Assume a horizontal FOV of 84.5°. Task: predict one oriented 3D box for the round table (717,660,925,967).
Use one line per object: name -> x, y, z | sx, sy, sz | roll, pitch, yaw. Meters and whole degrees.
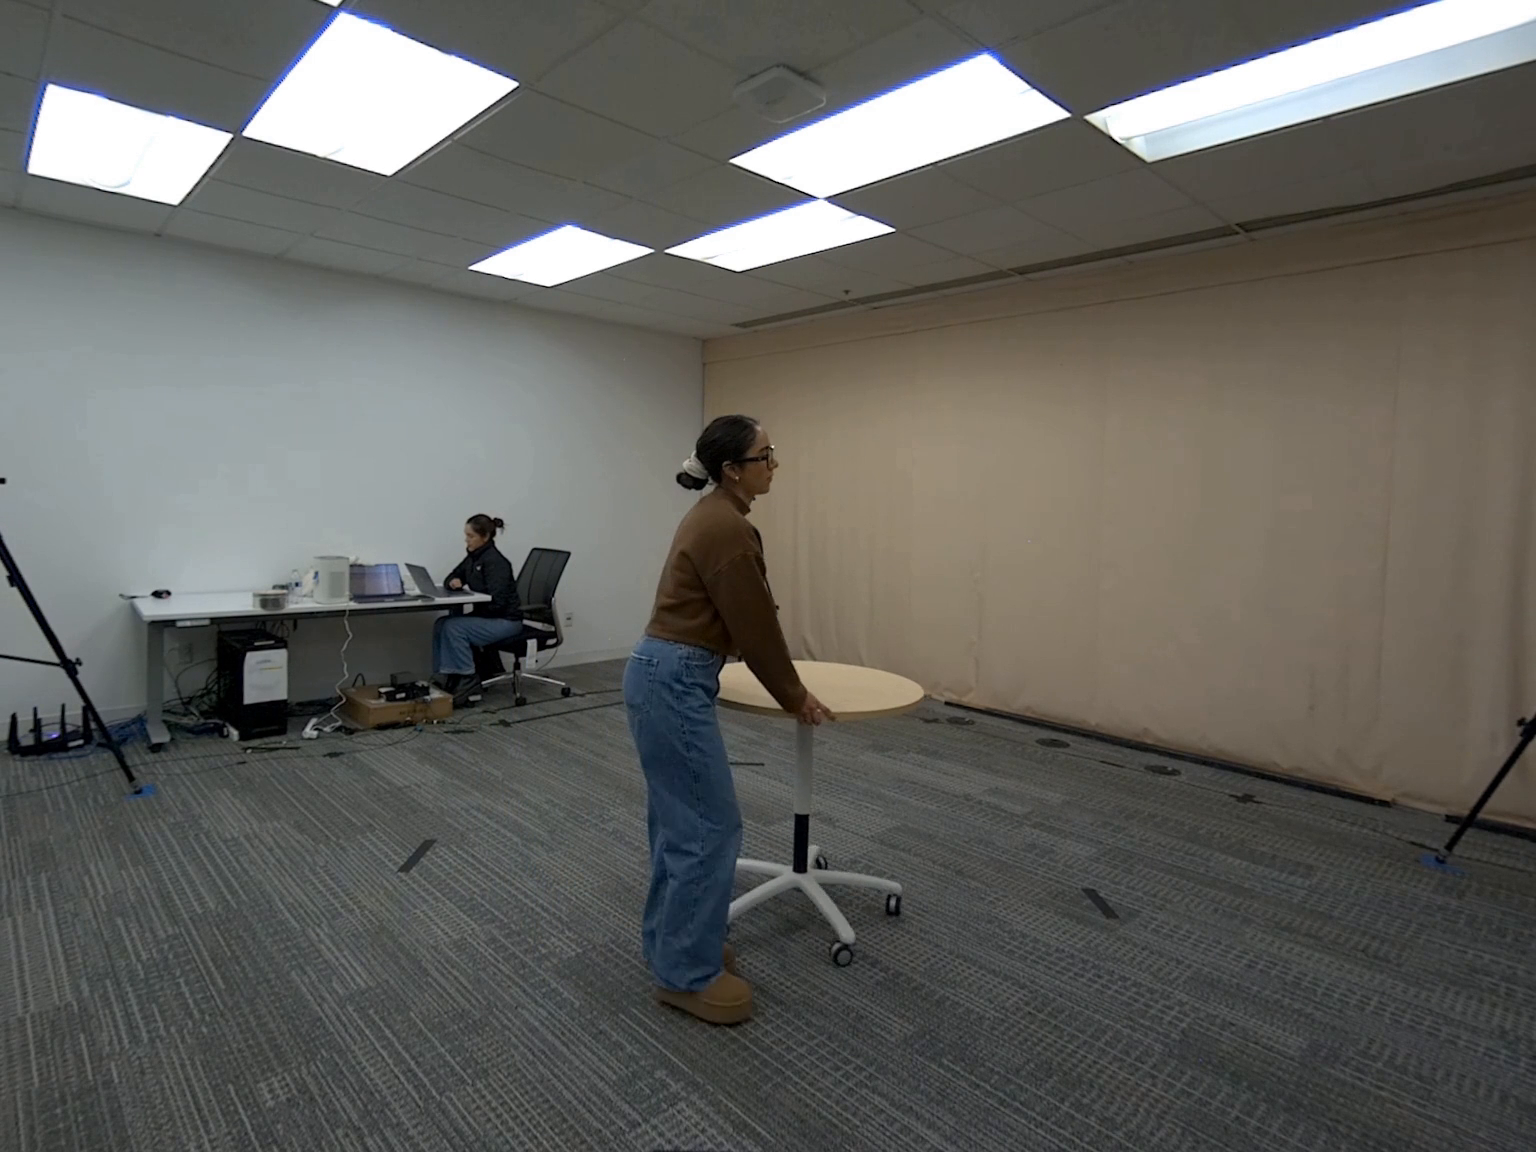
round table -> 0.119, 0.742, 2.842 | 0.784, 0.784, 0.788 | 2, 4, -2
